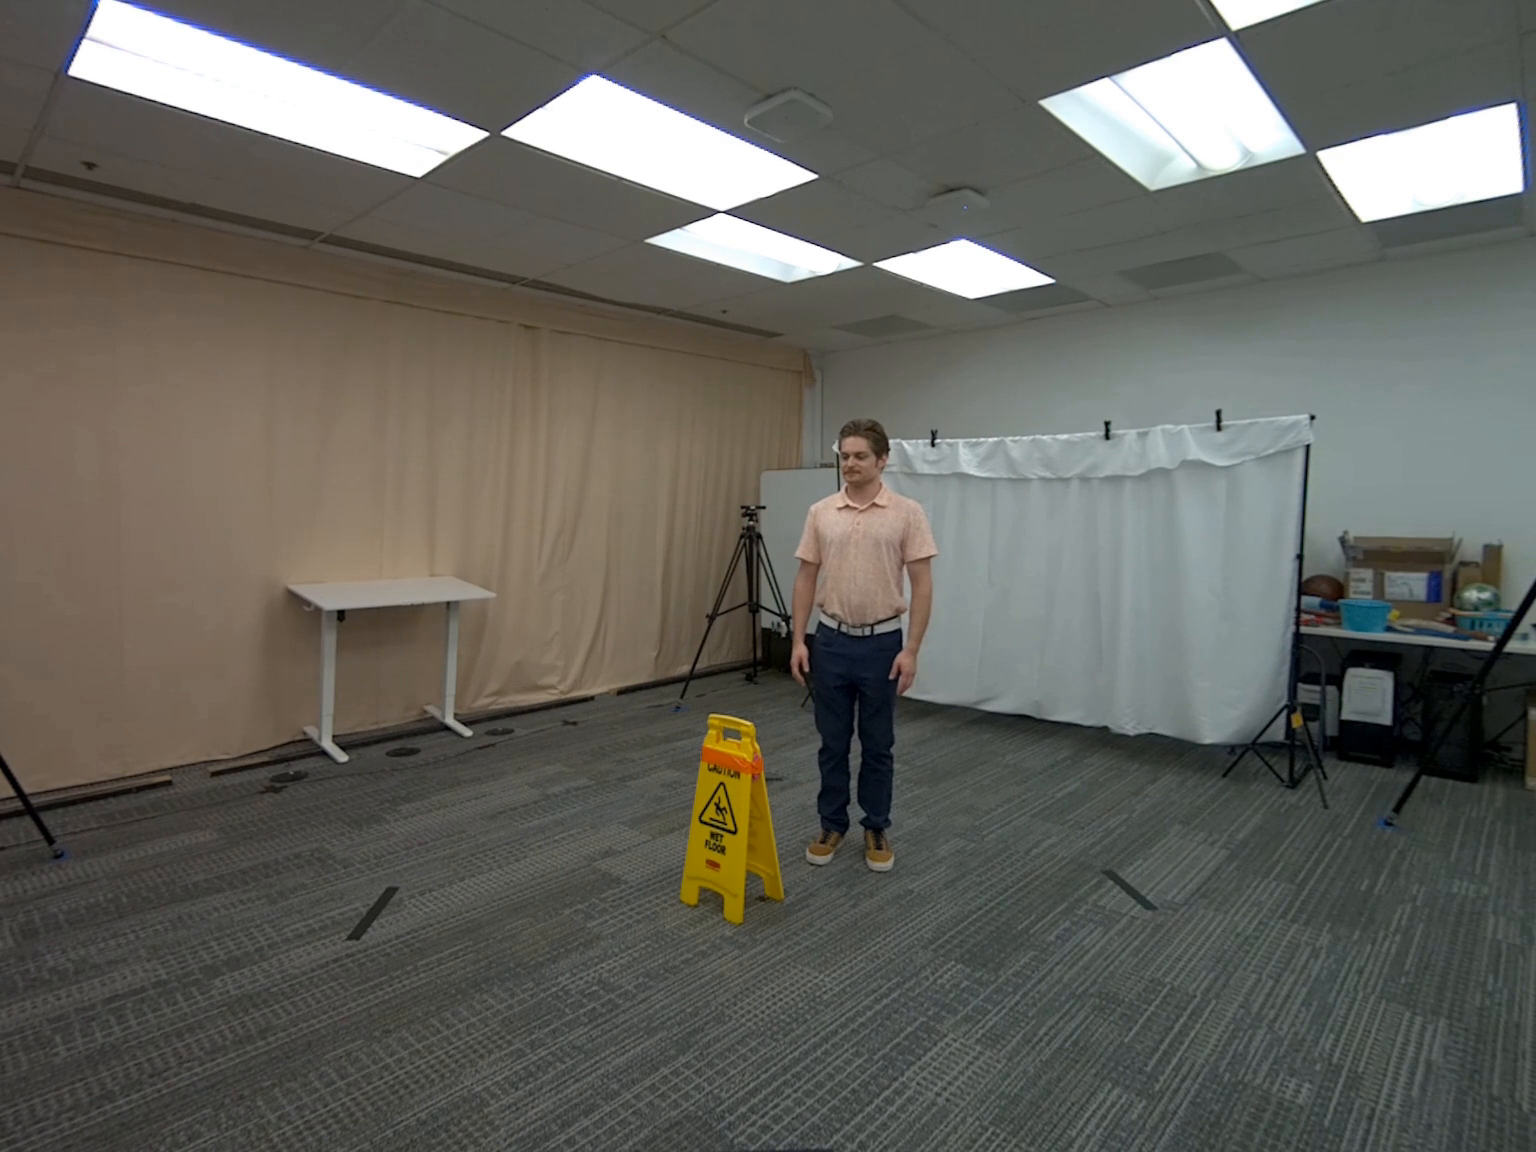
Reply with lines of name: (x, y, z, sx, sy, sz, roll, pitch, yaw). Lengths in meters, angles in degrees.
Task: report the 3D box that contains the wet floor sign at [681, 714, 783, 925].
wet floor sign: (-0.125, 0.819, 2.958, 0.291, 0.645, 0.281, 3, 4, 40)
